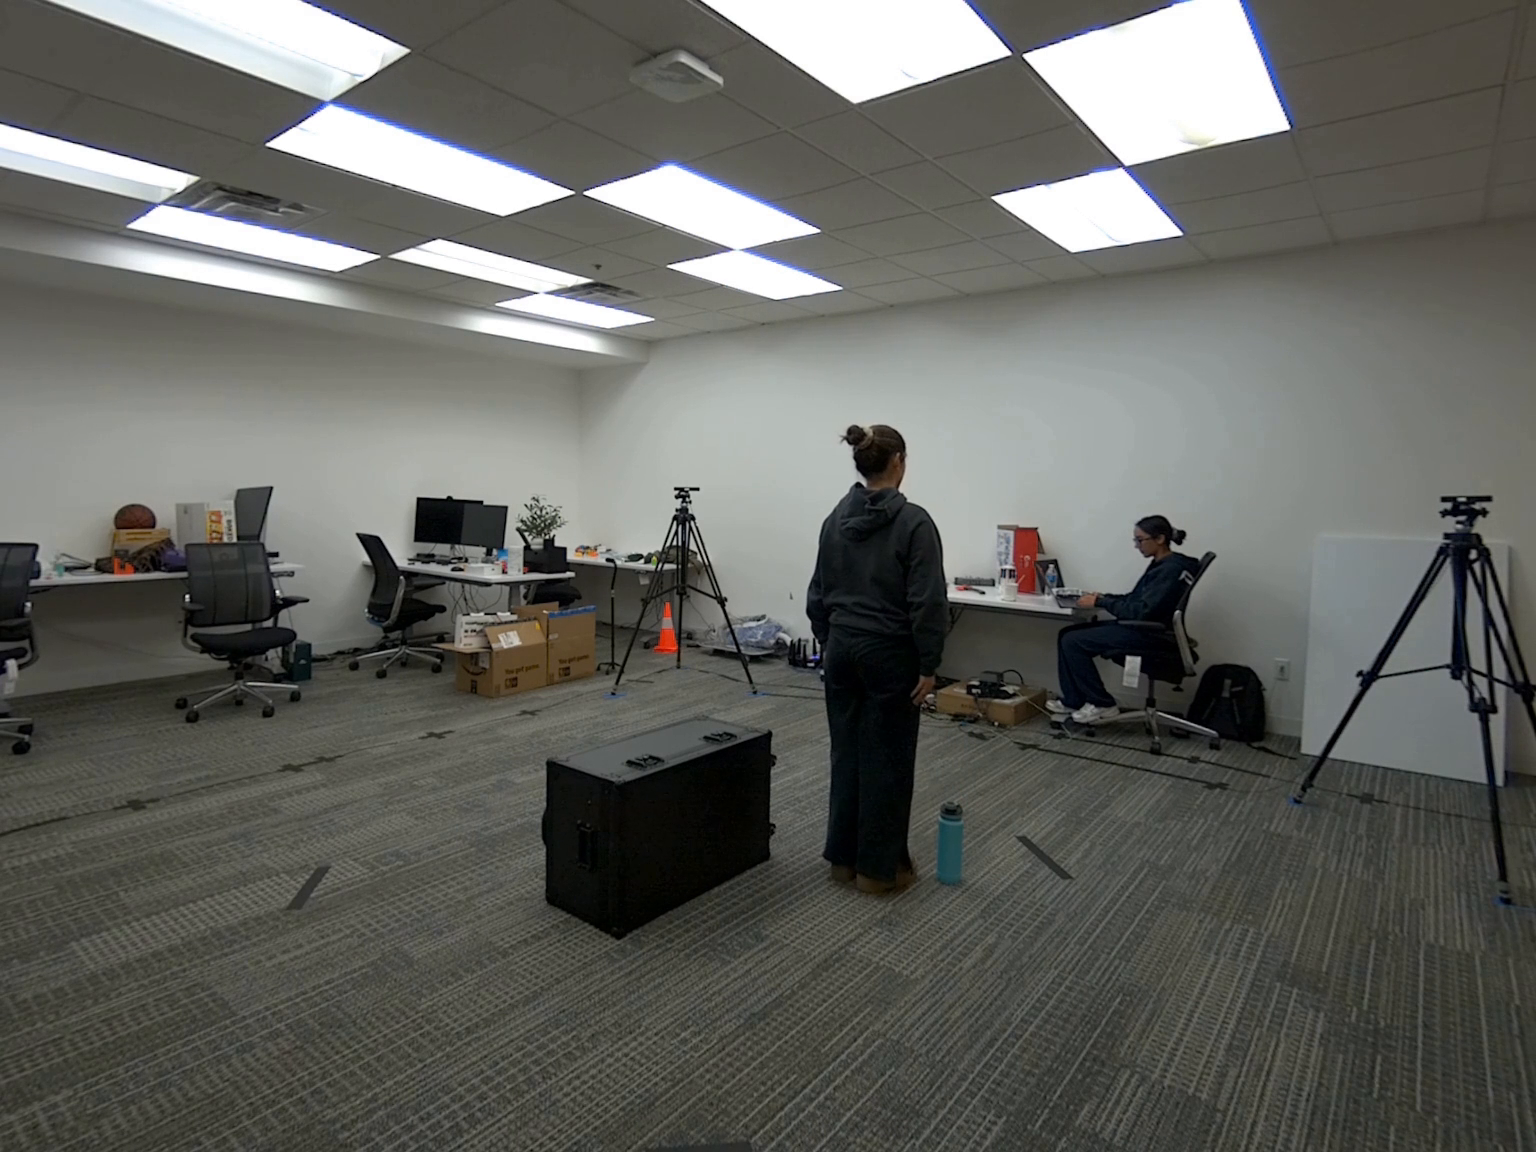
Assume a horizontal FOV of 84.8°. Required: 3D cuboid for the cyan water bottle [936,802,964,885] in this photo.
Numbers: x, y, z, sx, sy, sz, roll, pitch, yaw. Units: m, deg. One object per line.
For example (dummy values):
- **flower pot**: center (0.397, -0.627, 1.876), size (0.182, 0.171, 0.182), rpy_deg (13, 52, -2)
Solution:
- **cyan water bottle**: center (0.661, 0.950, 3.063), size (0.092, 0.282, 0.093), rpy_deg (2, 3, -2)
